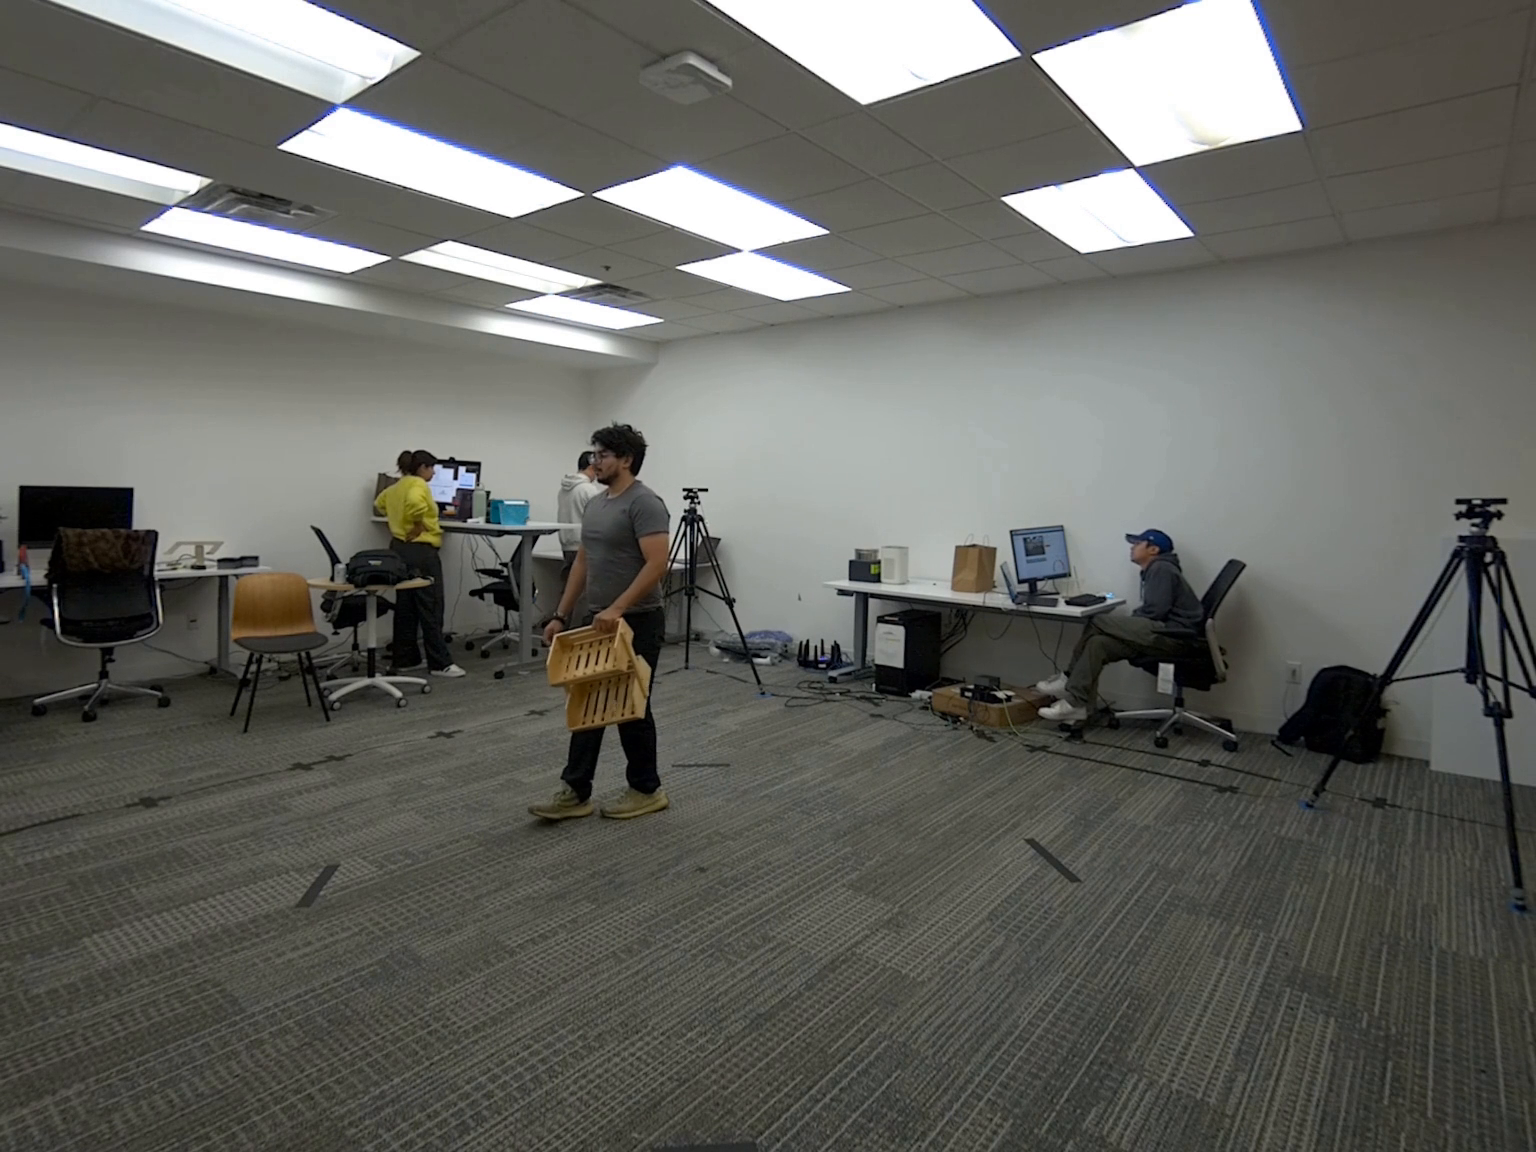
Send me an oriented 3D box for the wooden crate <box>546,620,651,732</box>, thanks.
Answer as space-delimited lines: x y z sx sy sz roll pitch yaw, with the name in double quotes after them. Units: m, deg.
-0.661 0.379 3.228 0.329 0.263 0.310 -14 41 17 "wooden crate"
